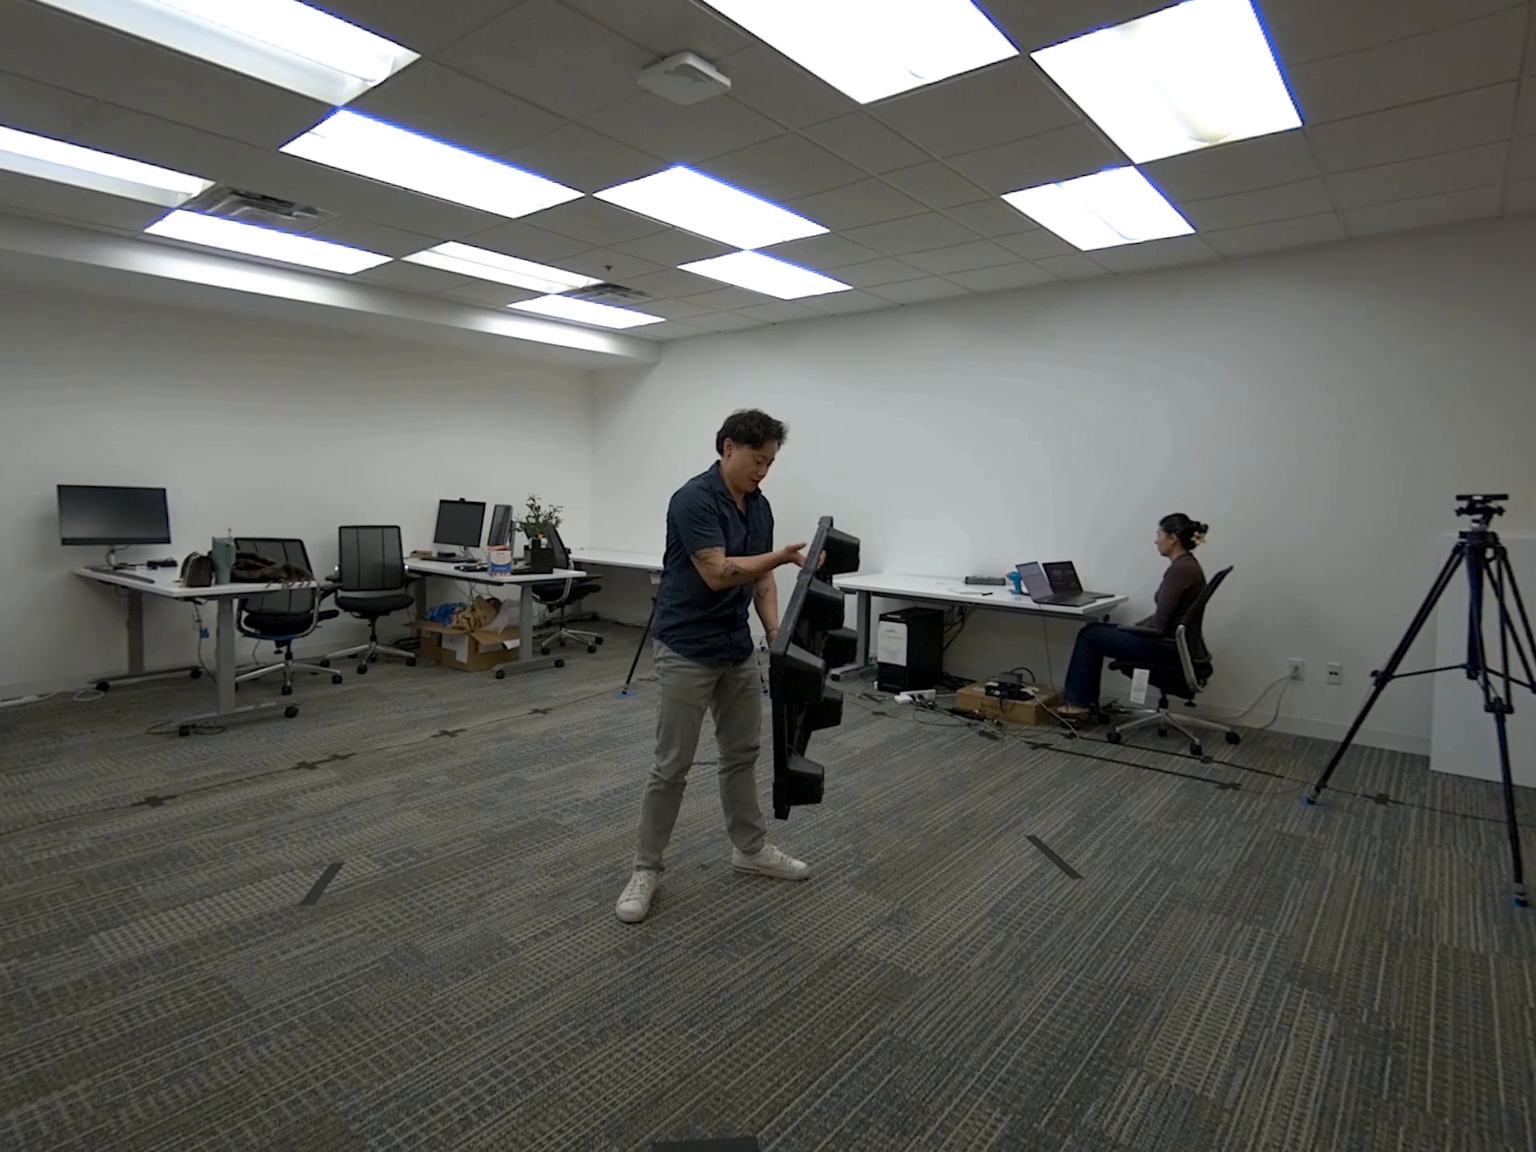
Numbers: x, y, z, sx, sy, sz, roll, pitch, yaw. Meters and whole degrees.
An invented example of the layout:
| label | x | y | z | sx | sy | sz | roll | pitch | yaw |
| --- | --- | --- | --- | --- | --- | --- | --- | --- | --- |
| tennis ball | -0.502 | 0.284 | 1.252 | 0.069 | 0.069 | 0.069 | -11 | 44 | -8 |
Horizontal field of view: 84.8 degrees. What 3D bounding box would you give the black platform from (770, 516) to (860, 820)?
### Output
| label | x | y | z | sx | sy | sz | roll | pitch | yaw |
| --- | --- | --- | --- | --- | --- | --- | --- | --- | --- |
| black platform | 0.158 | 0.261 | 2.631 | 0.145 | 0.590 | 0.814 | 5 | 31 | 12 |
